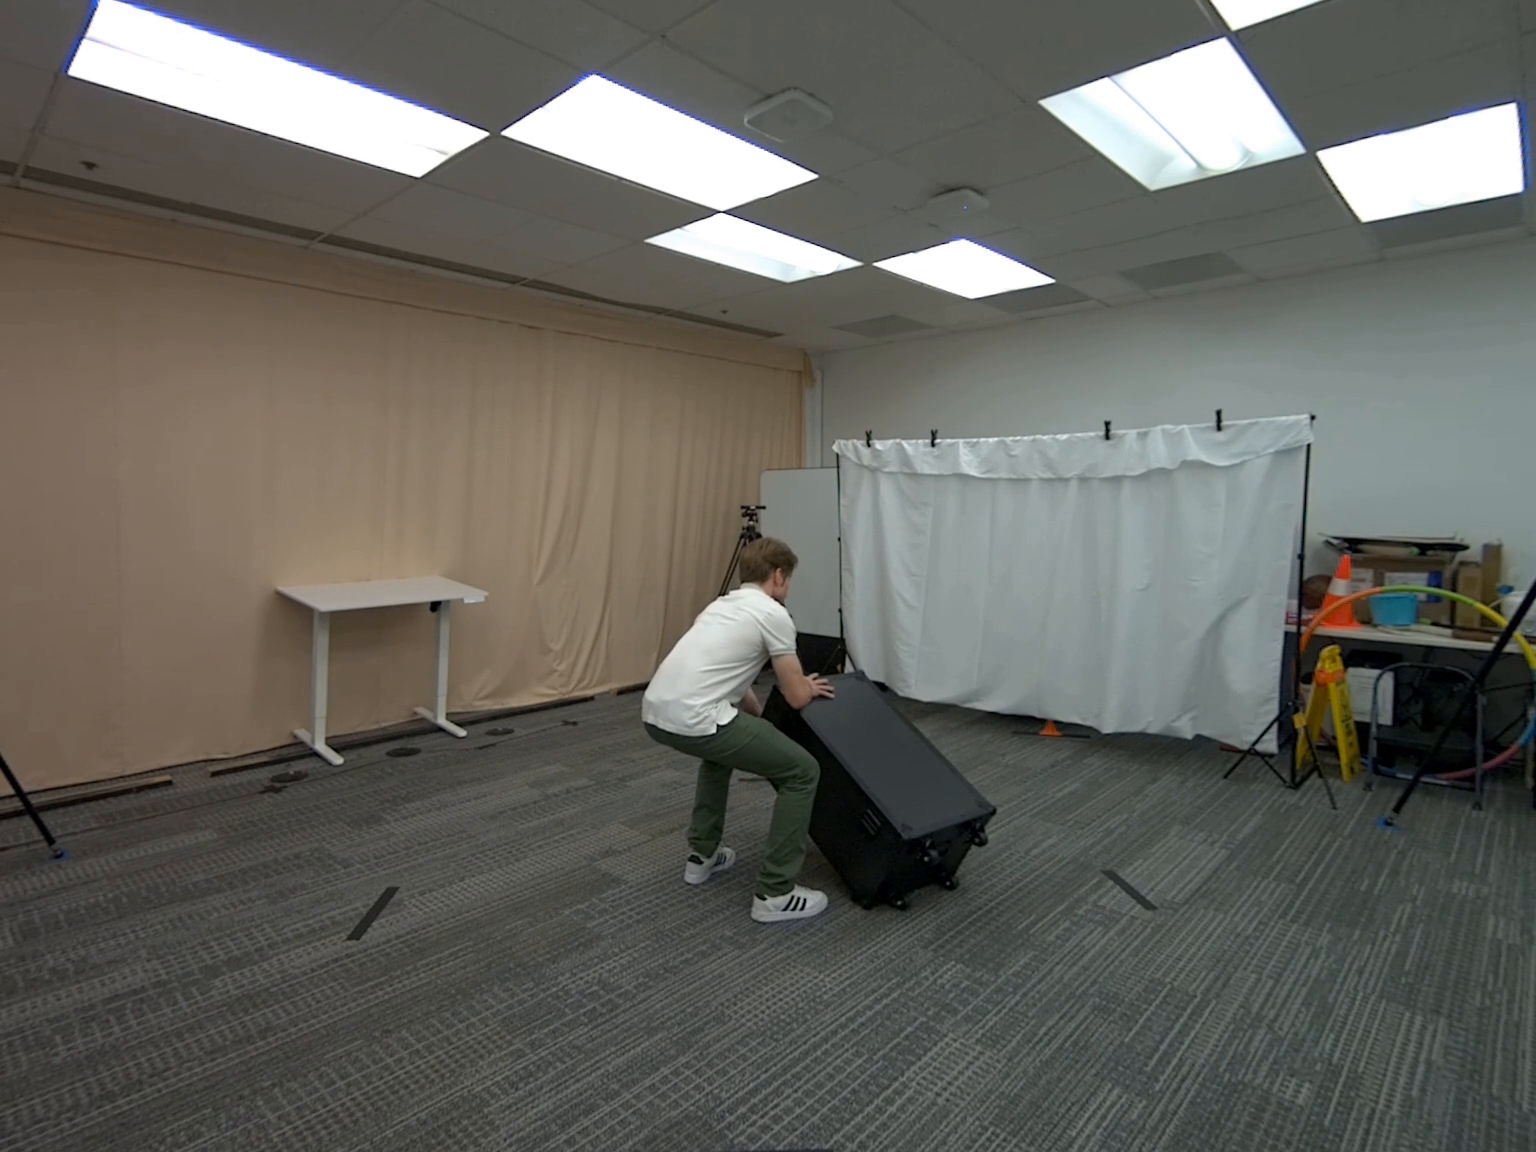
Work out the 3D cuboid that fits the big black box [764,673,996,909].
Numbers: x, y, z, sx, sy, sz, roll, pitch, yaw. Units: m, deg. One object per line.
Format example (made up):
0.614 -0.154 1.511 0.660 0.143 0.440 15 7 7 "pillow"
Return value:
0.383 0.796 3.184 0.507 0.383 0.900 -2 34 -38 "big black box"
